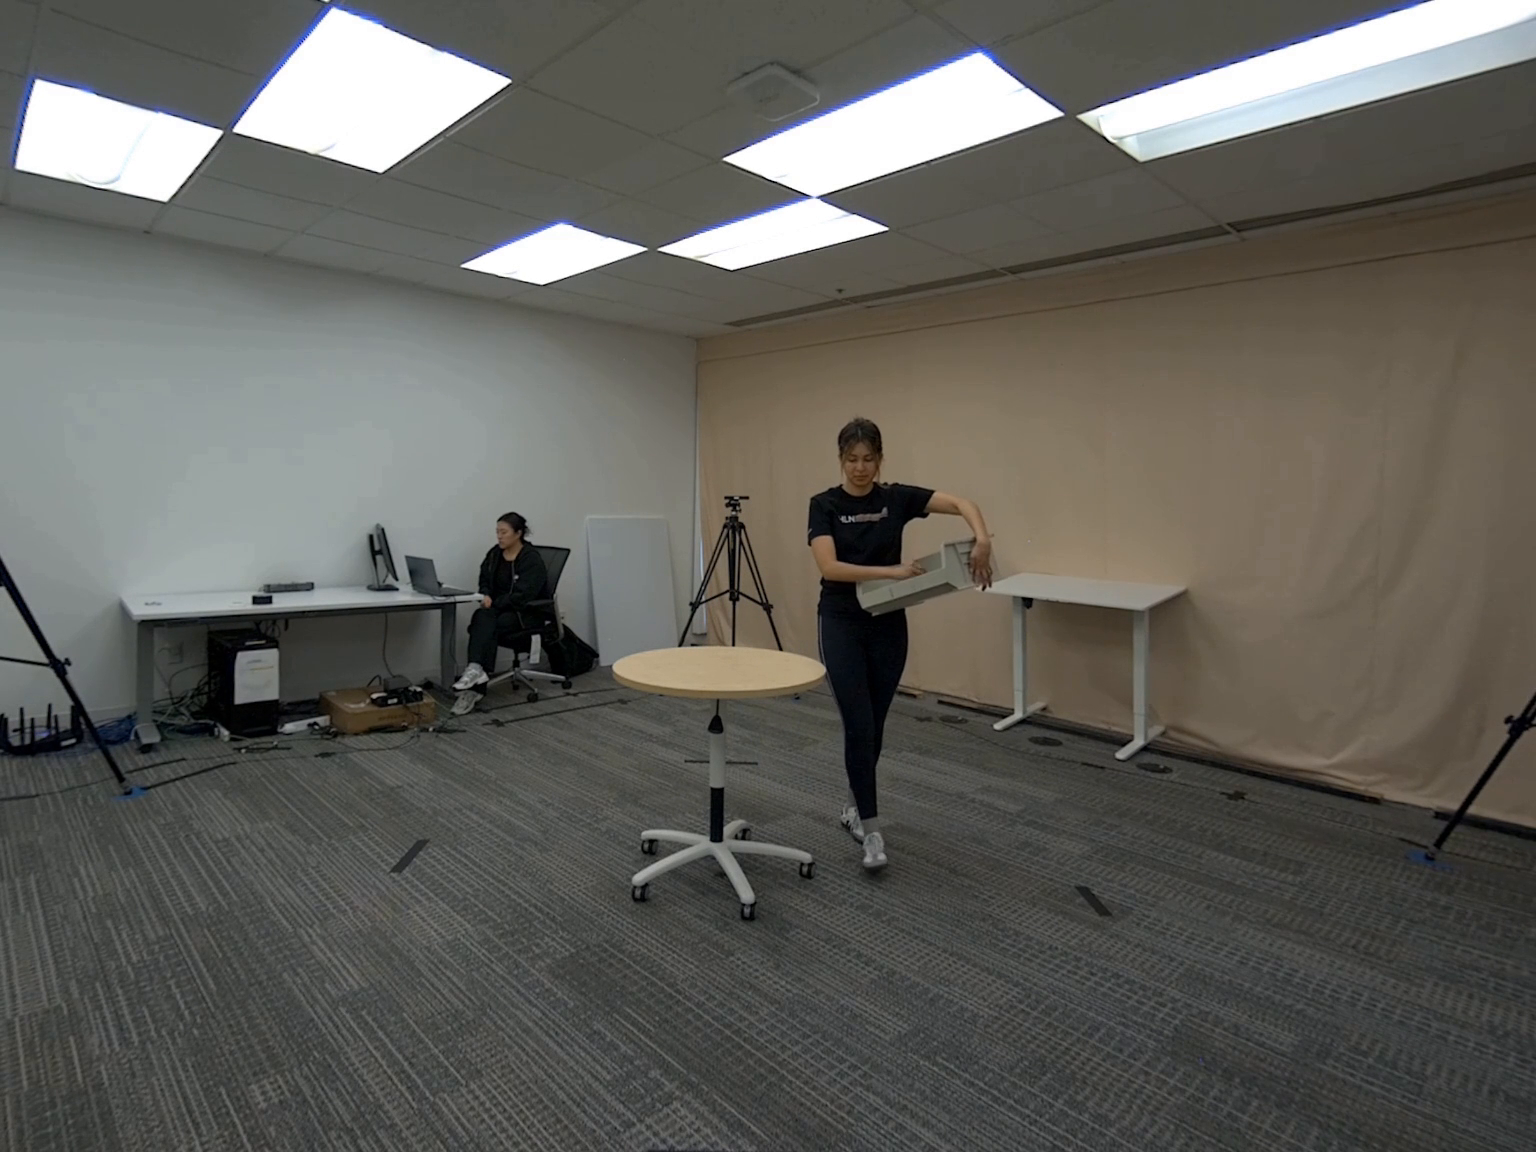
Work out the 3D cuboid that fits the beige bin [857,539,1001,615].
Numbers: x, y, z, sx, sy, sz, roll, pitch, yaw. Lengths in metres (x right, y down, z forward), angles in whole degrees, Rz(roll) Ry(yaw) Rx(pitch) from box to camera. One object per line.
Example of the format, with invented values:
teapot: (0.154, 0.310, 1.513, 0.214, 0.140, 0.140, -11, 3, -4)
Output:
beige bin: (0.599, 0.005, 3.212, 0.369, 0.190, 0.428, -8, -10, -45)
